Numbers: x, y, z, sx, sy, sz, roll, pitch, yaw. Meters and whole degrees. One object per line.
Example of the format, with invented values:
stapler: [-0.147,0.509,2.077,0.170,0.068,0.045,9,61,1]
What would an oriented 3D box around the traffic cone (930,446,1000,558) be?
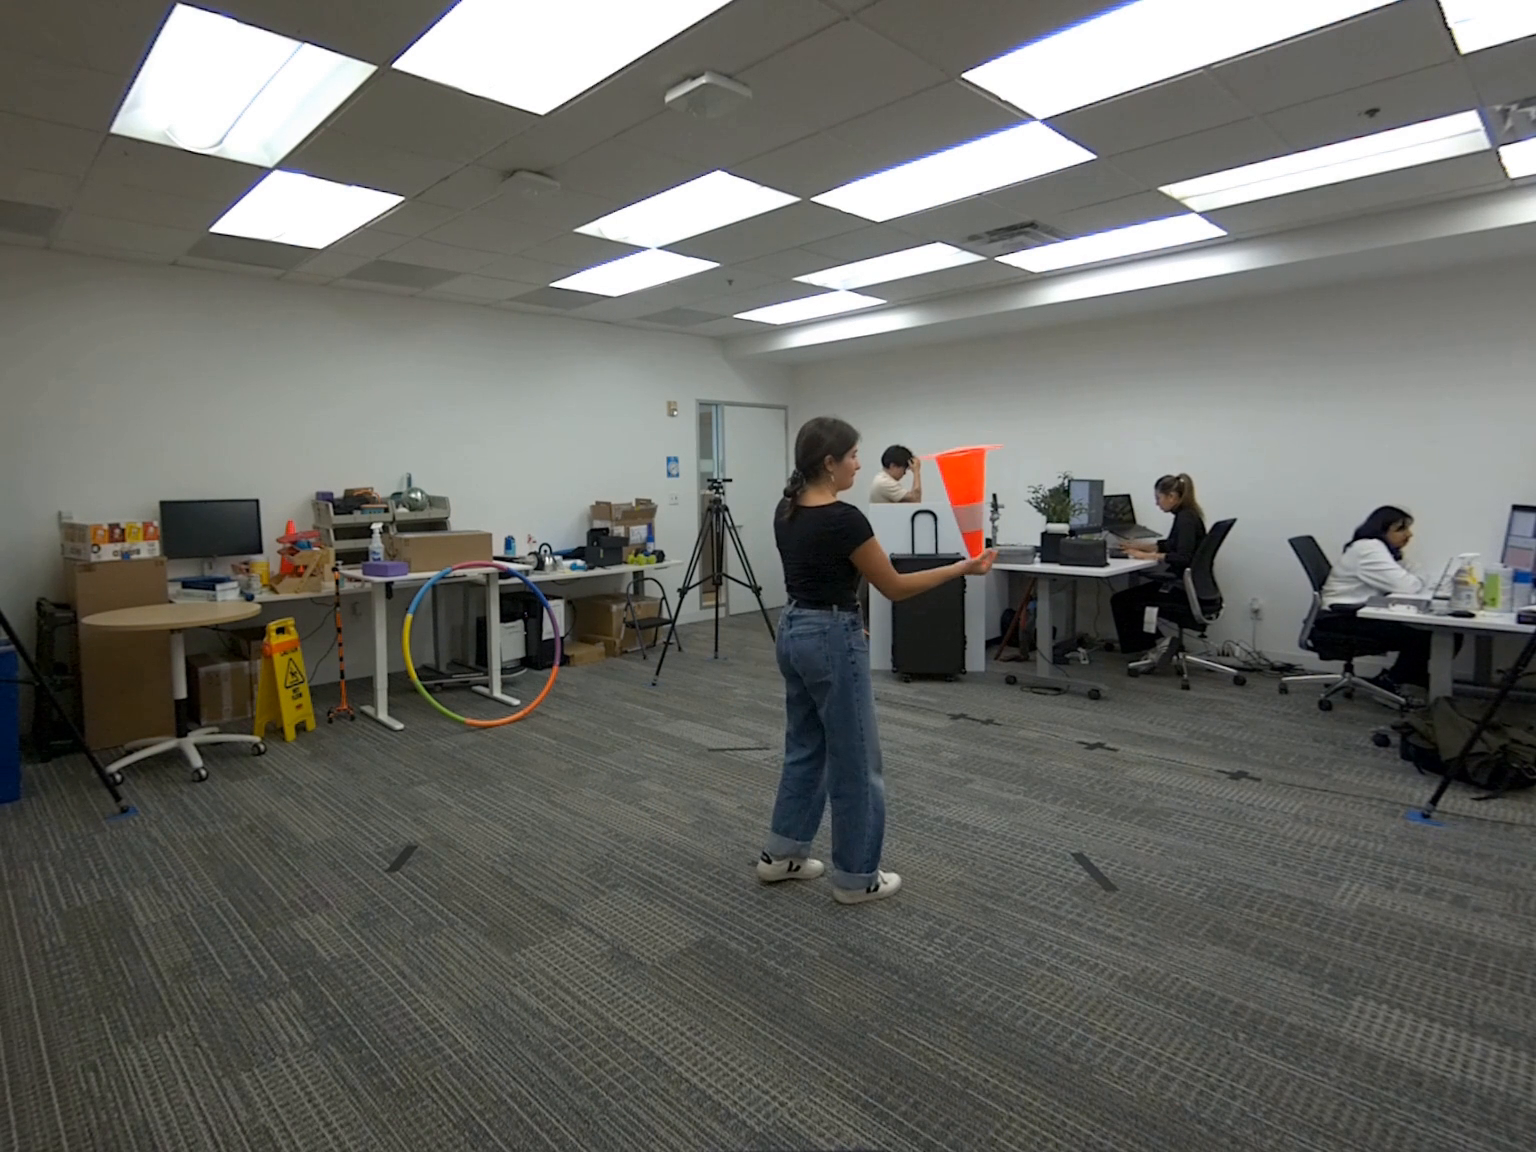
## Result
traffic cone: [0.644,-0.207,2.765,0.202,0.380,0.208,-14,9,-23]
